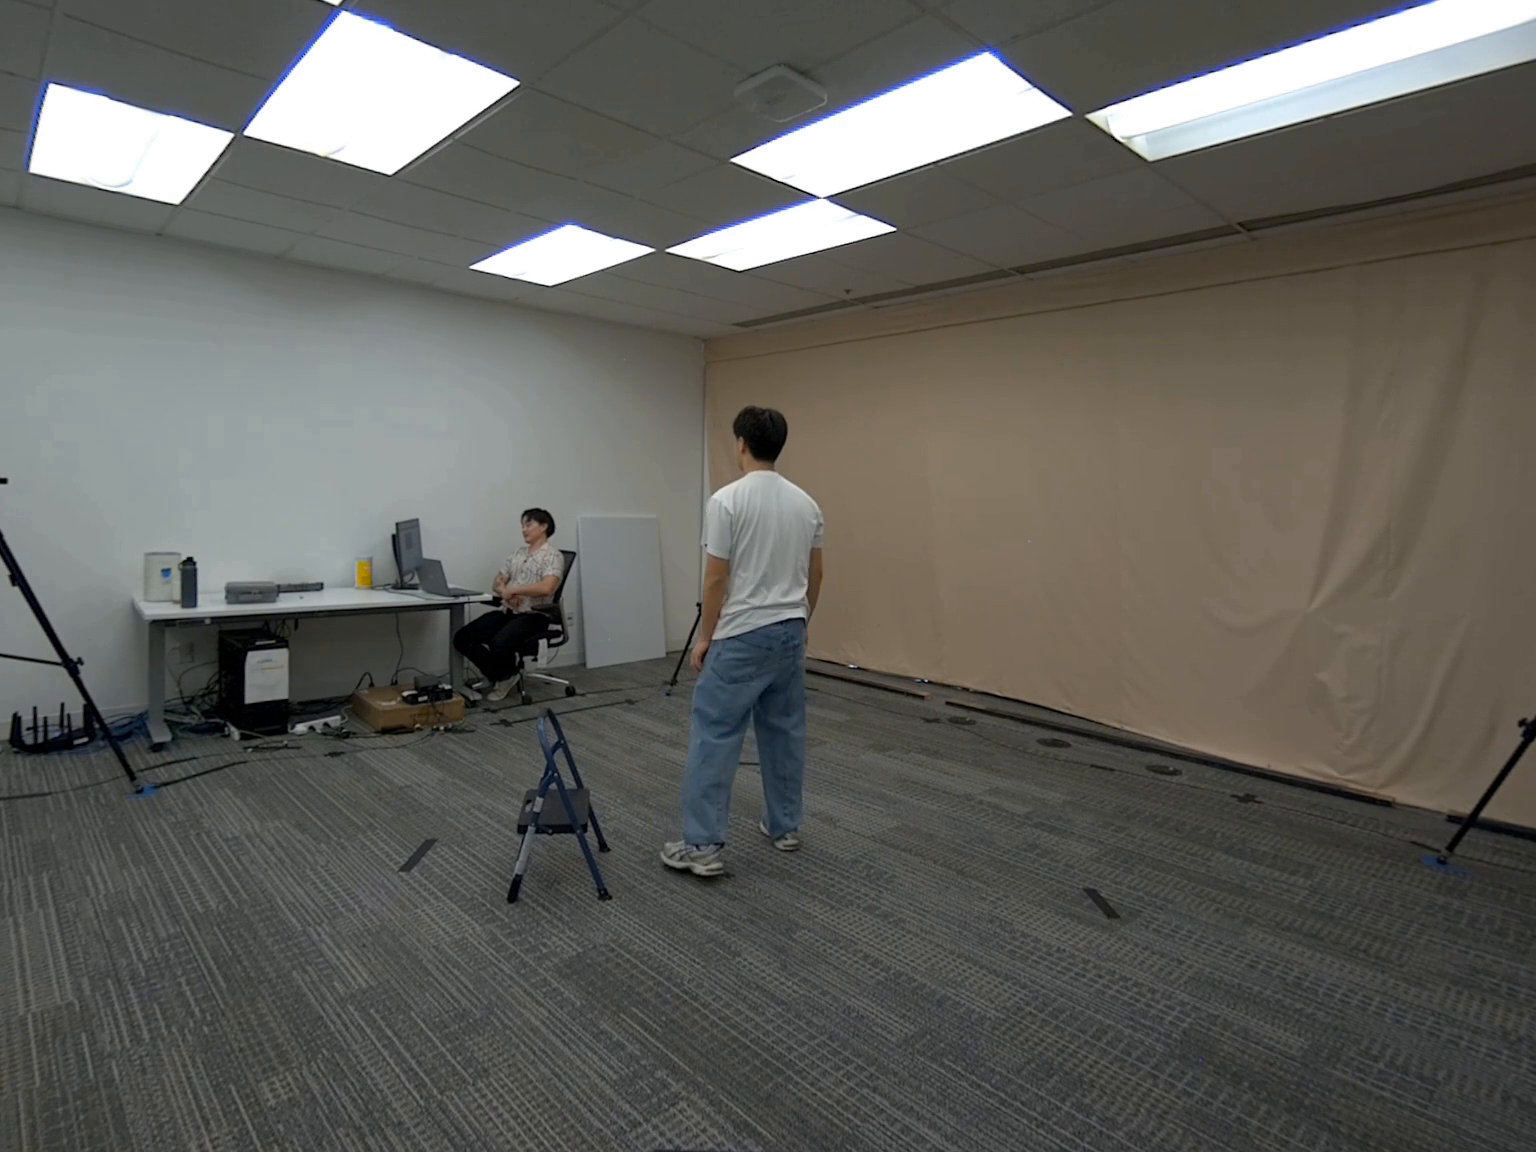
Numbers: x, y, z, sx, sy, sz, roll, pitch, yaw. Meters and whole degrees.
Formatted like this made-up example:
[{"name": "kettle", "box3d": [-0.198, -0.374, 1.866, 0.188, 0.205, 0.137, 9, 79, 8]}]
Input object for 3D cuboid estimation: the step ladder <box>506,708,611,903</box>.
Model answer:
[{"name": "step ladder", "box3d": [-0.753, 0.797, 3.063, 0.346, 0.605, 0.435, 1, 3, -11]}]
